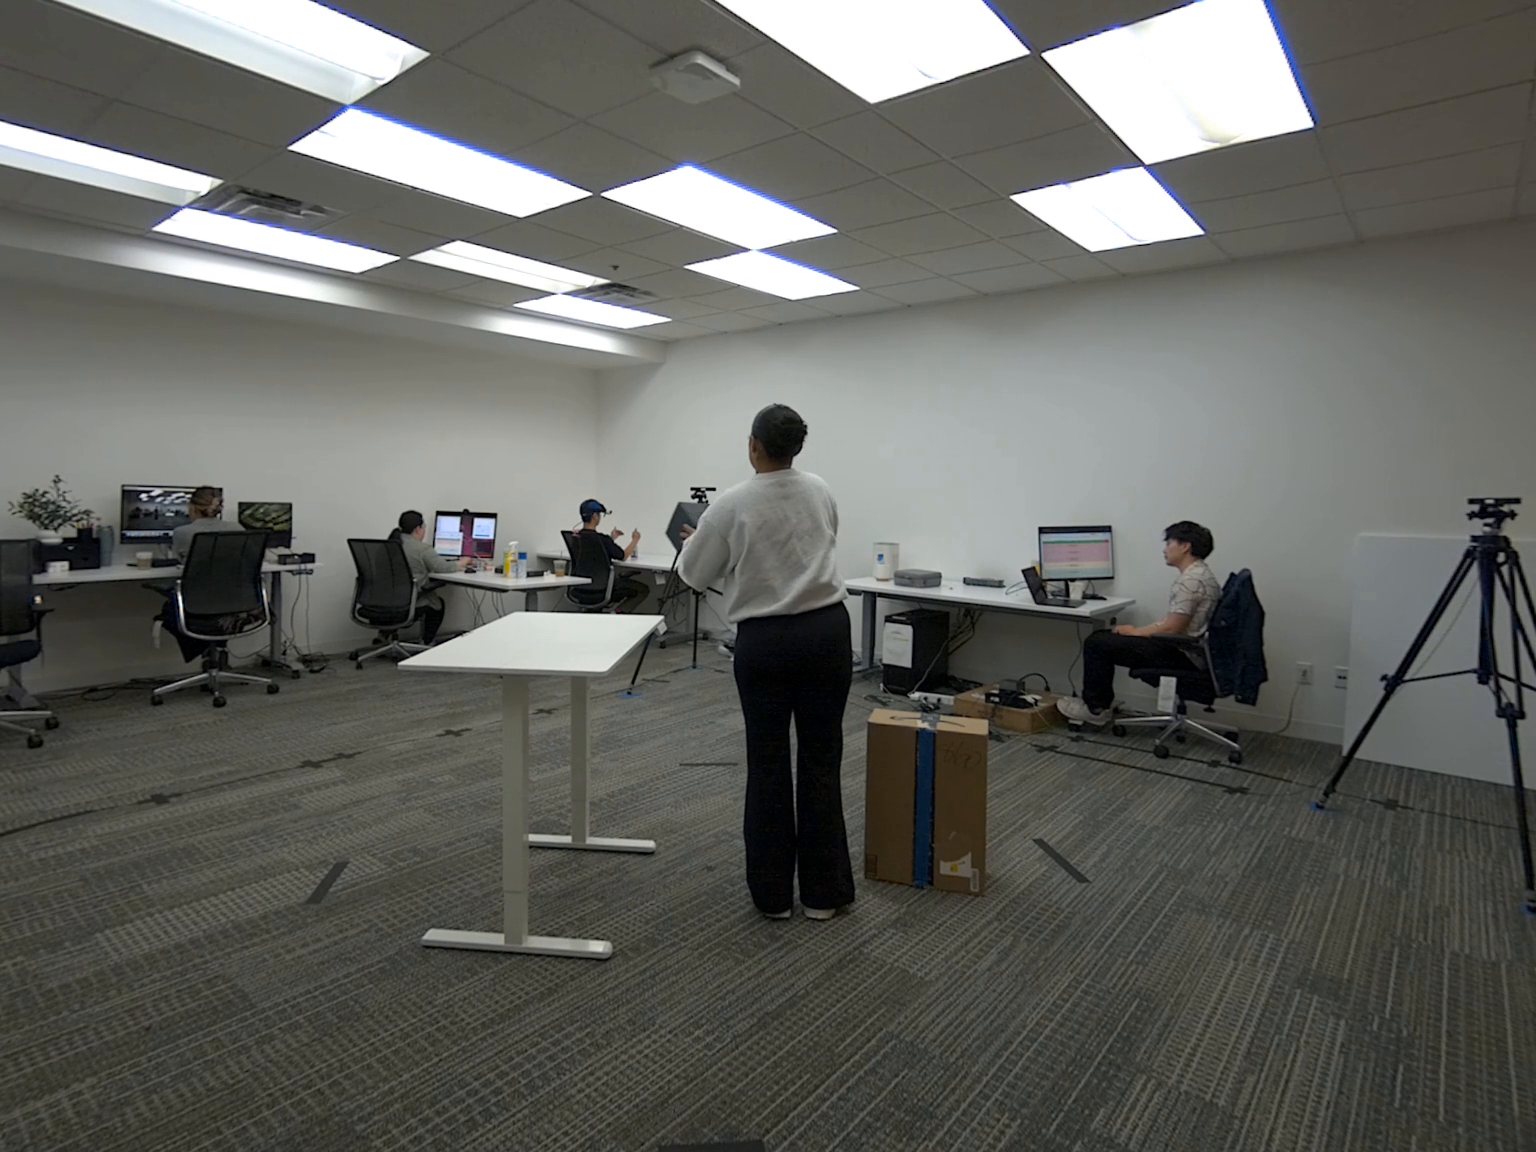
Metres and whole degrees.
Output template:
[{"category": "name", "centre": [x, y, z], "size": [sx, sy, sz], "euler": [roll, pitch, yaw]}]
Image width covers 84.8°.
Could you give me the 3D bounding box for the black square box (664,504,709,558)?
[{"category": "black square box", "centre": [-0.232, -0.147, 3.242], "size": [0.221, 0.154, 0.226], "euler": [1, 37, -37]}]
